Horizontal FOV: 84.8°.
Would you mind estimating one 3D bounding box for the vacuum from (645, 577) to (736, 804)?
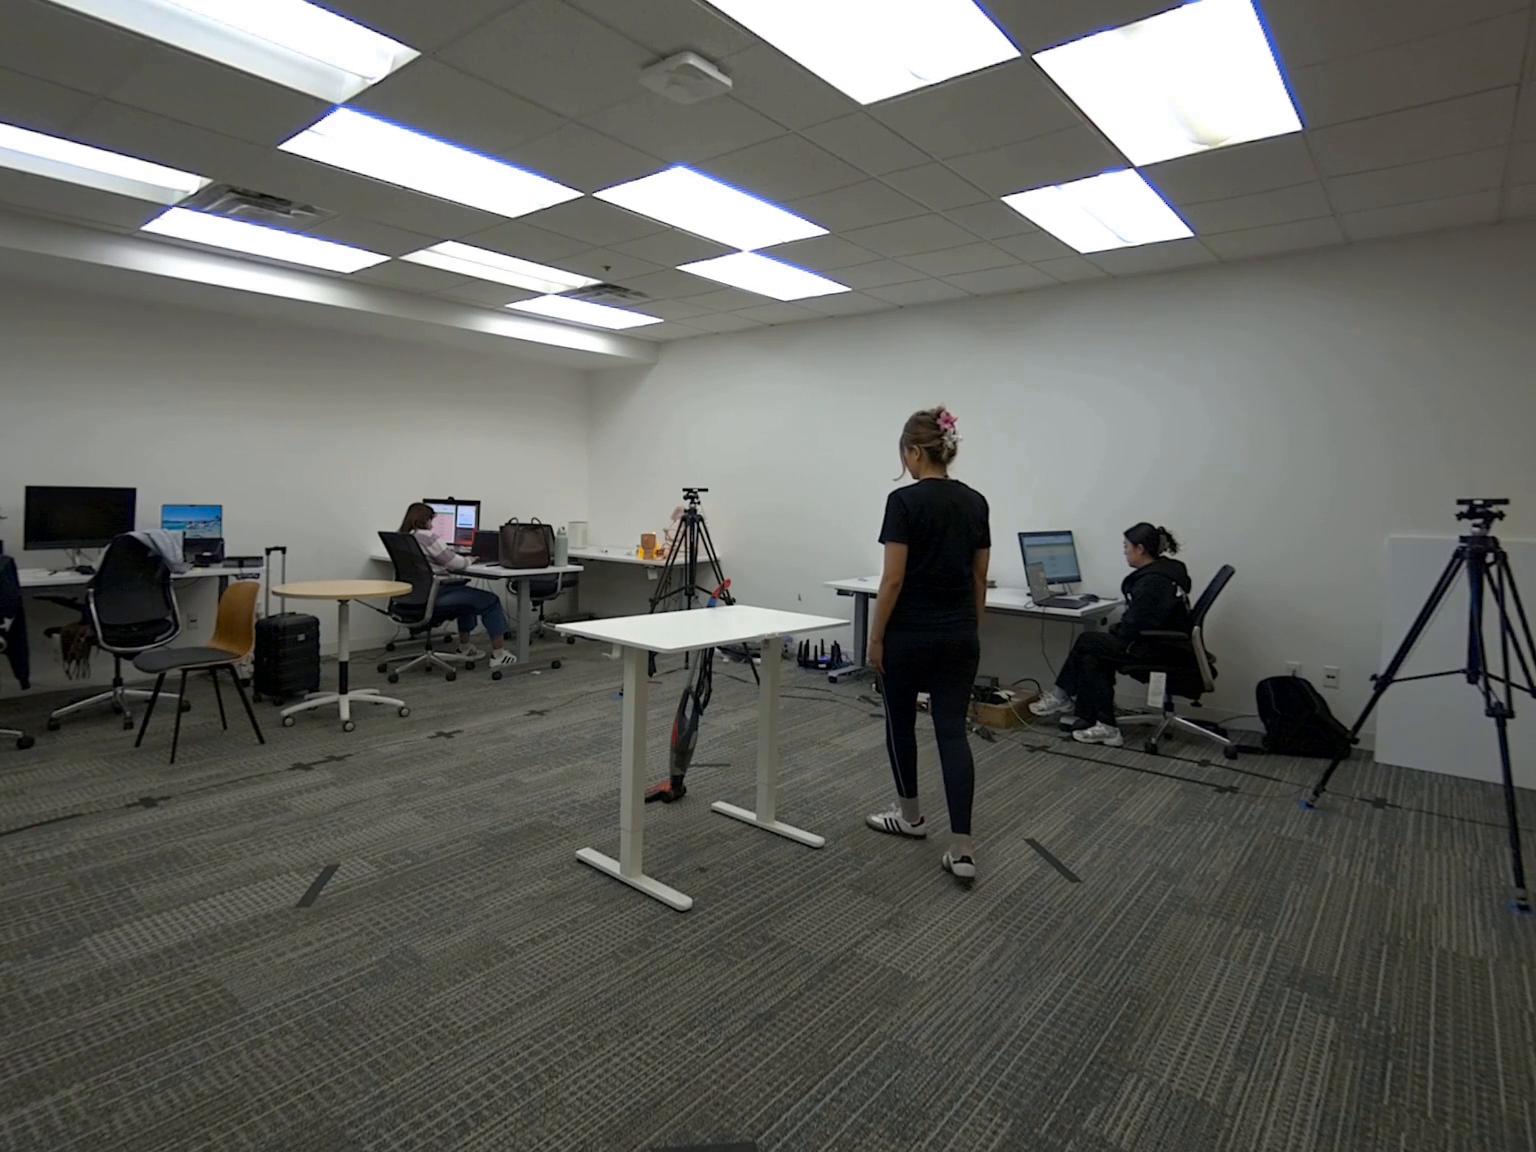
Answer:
[{"bbox_3d":[-0.331,0.510,3.743,0.149,1.041,0.245,25,15,31],"label":"vacuum"}]
